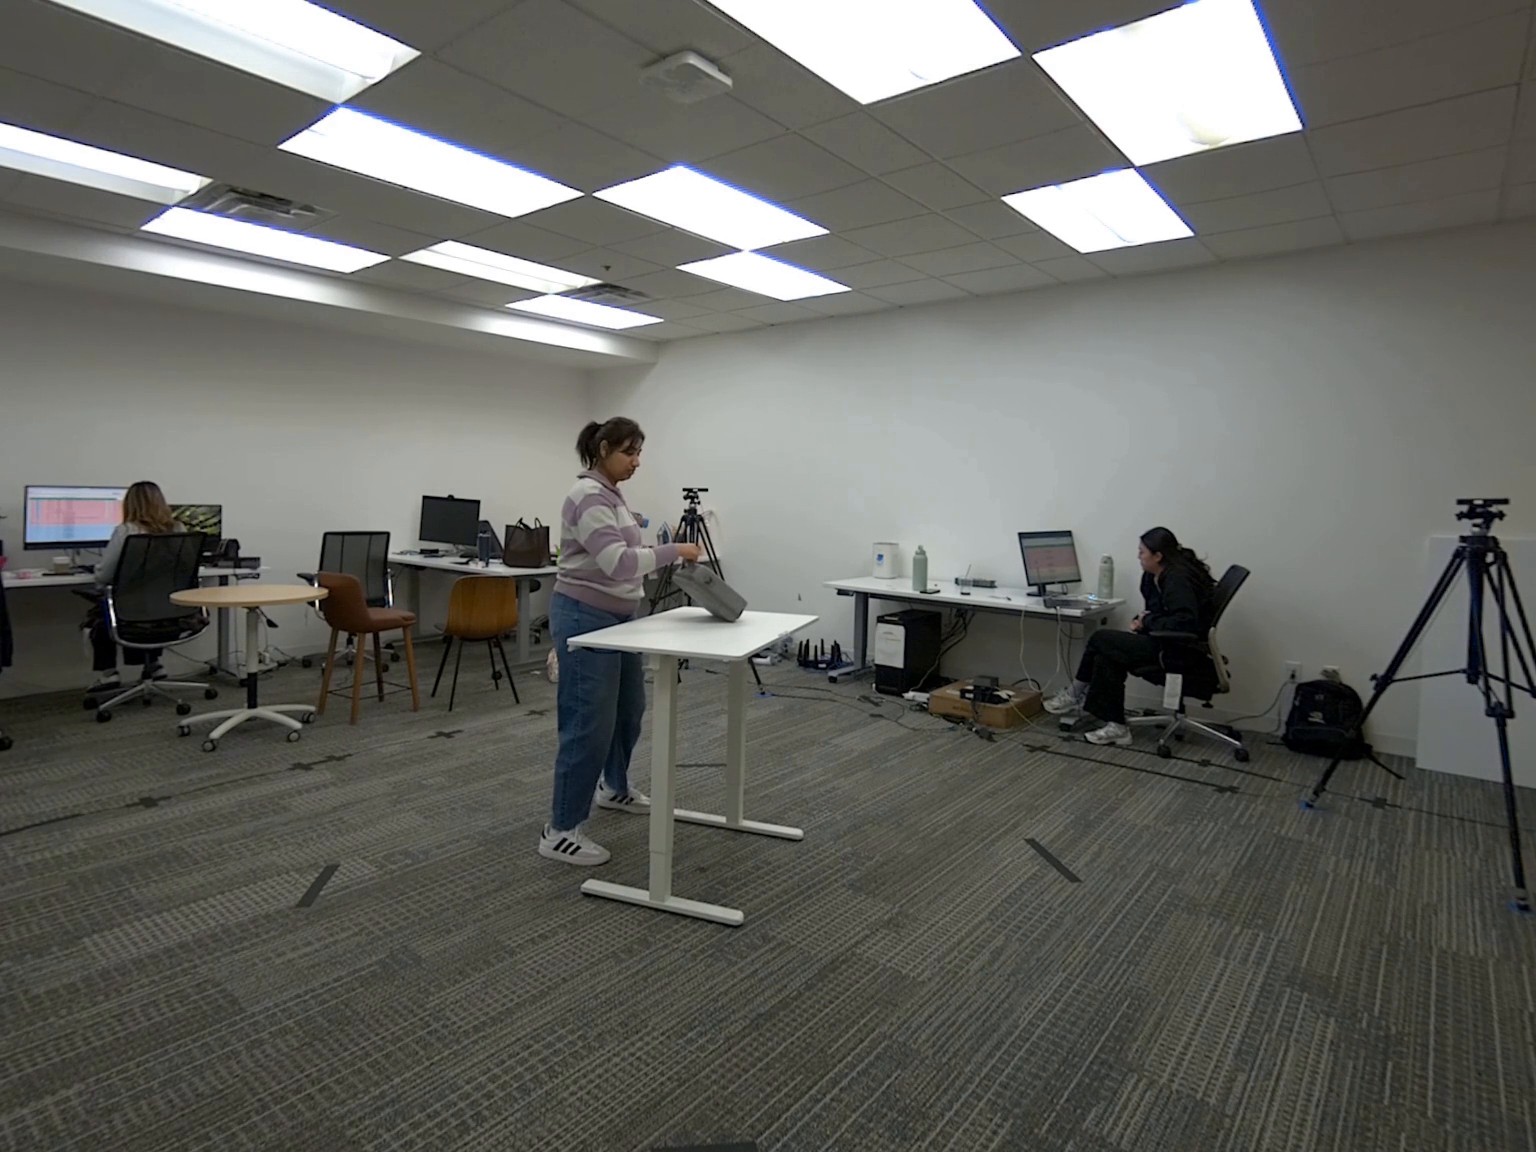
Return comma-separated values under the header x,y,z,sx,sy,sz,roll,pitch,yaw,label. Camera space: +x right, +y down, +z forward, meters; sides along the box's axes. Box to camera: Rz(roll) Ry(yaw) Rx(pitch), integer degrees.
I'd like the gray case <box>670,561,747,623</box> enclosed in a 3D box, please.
x,y,z,sx,sy,sz,roll,pitch,yaw,label
-0.237,0.055,3.321,0.254,0.104,0.263,41,-11,-18,gray case
